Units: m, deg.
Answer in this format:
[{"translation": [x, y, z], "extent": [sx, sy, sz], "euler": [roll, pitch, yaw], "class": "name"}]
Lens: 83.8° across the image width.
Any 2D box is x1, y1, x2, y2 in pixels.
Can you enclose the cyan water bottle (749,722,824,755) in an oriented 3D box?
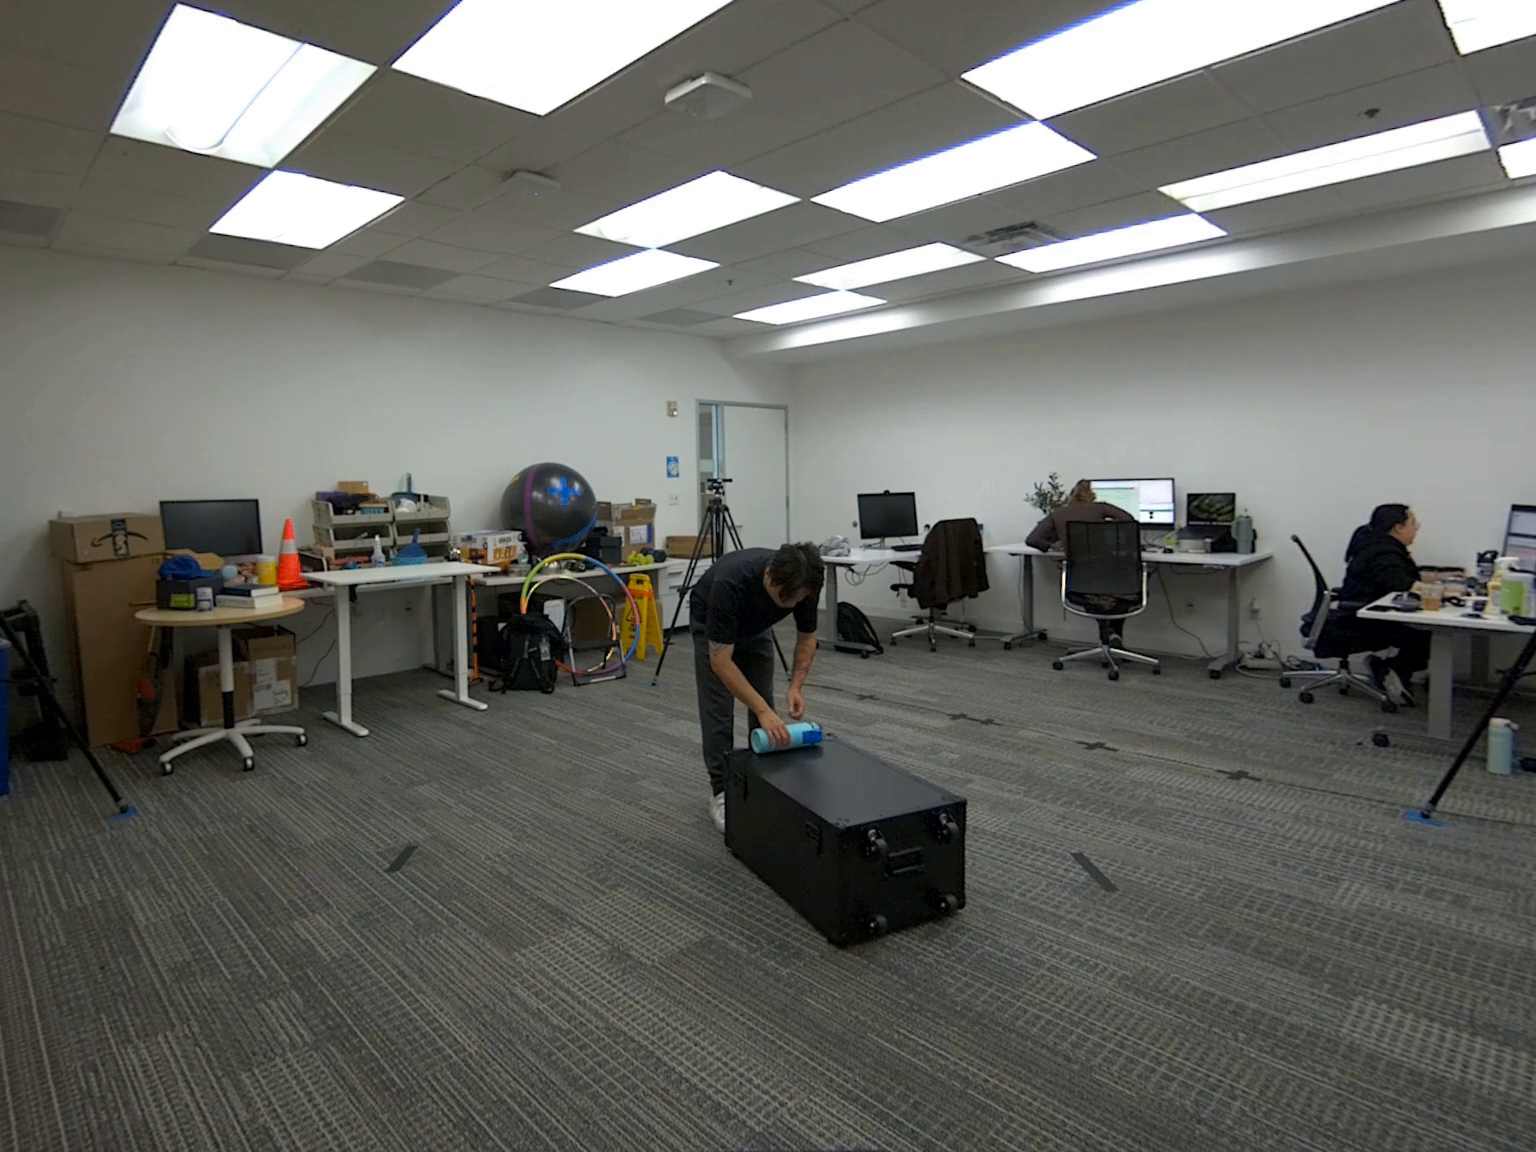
[{"translation": [0.082, 0.605, 3.235], "extent": [0.278, 0.092, 0.094], "euler": [-3, 5, -24], "class": "cyan water bottle"}]
